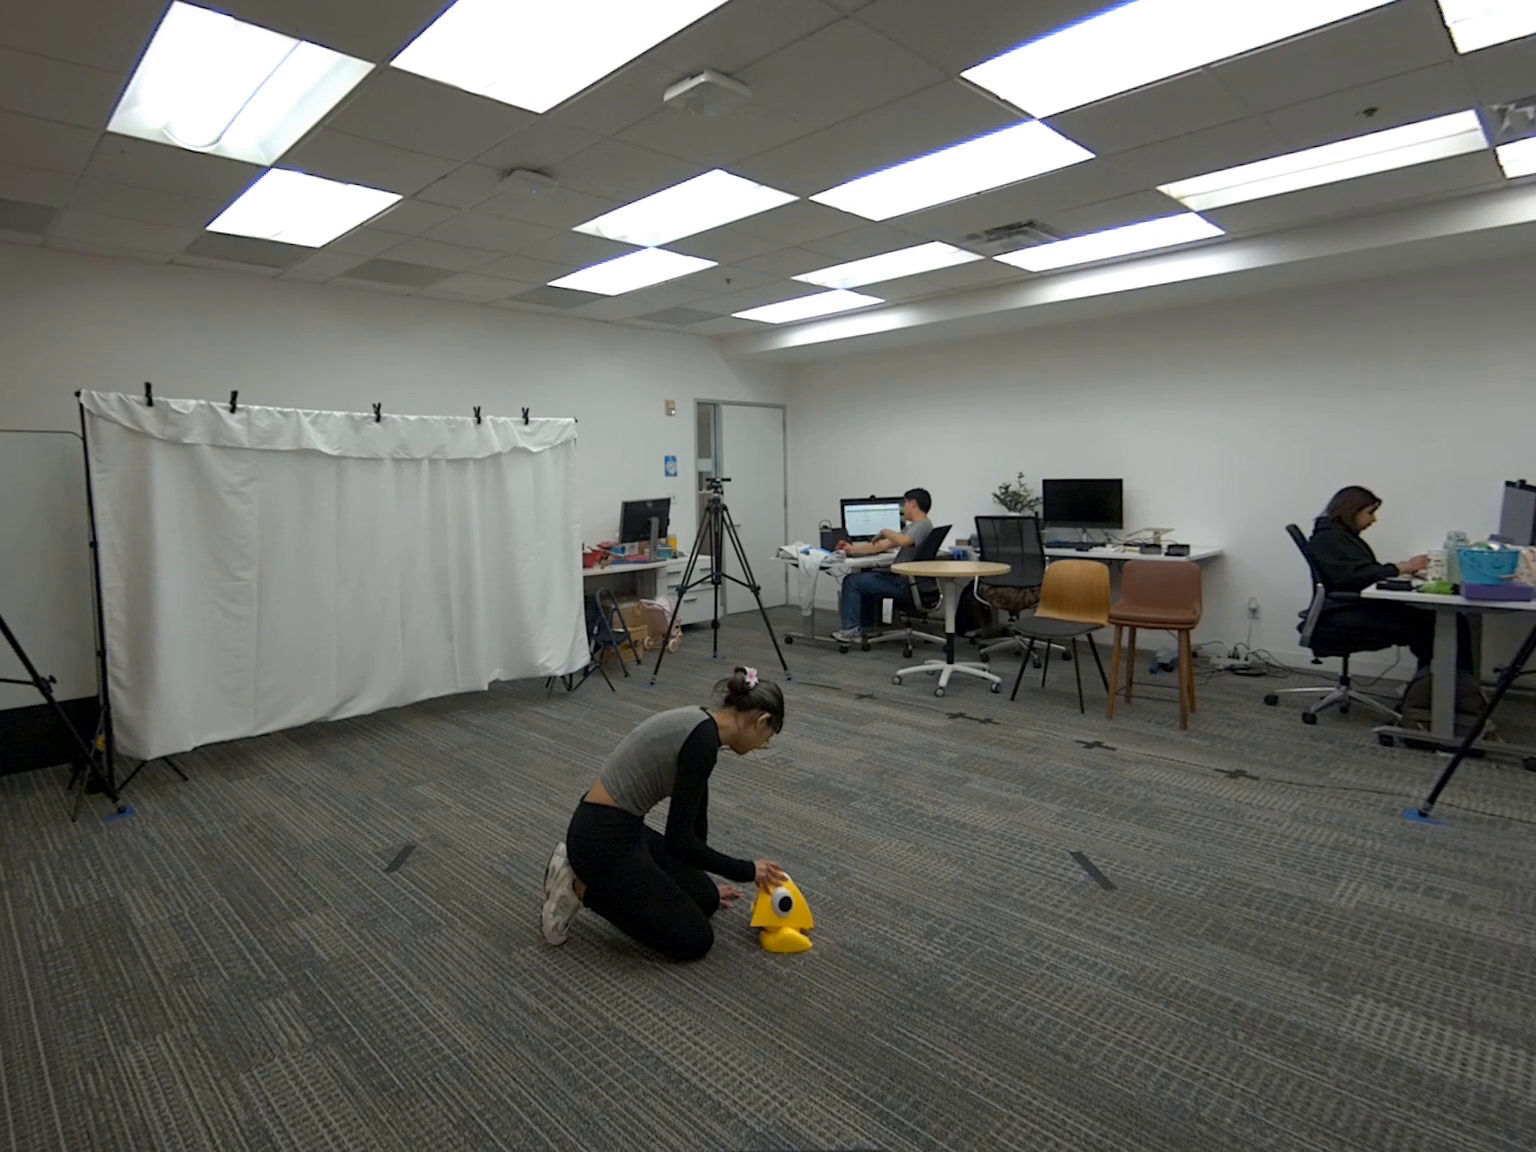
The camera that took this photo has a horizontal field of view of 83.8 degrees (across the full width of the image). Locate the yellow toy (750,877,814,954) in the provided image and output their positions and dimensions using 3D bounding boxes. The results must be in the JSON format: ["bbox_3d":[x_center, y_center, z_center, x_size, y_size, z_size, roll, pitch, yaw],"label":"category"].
[{"bbox_3d":[0.046,0.979,2.610,0.194,0.230,0.205,-1,5,4],"label":"yellow toy"}]
